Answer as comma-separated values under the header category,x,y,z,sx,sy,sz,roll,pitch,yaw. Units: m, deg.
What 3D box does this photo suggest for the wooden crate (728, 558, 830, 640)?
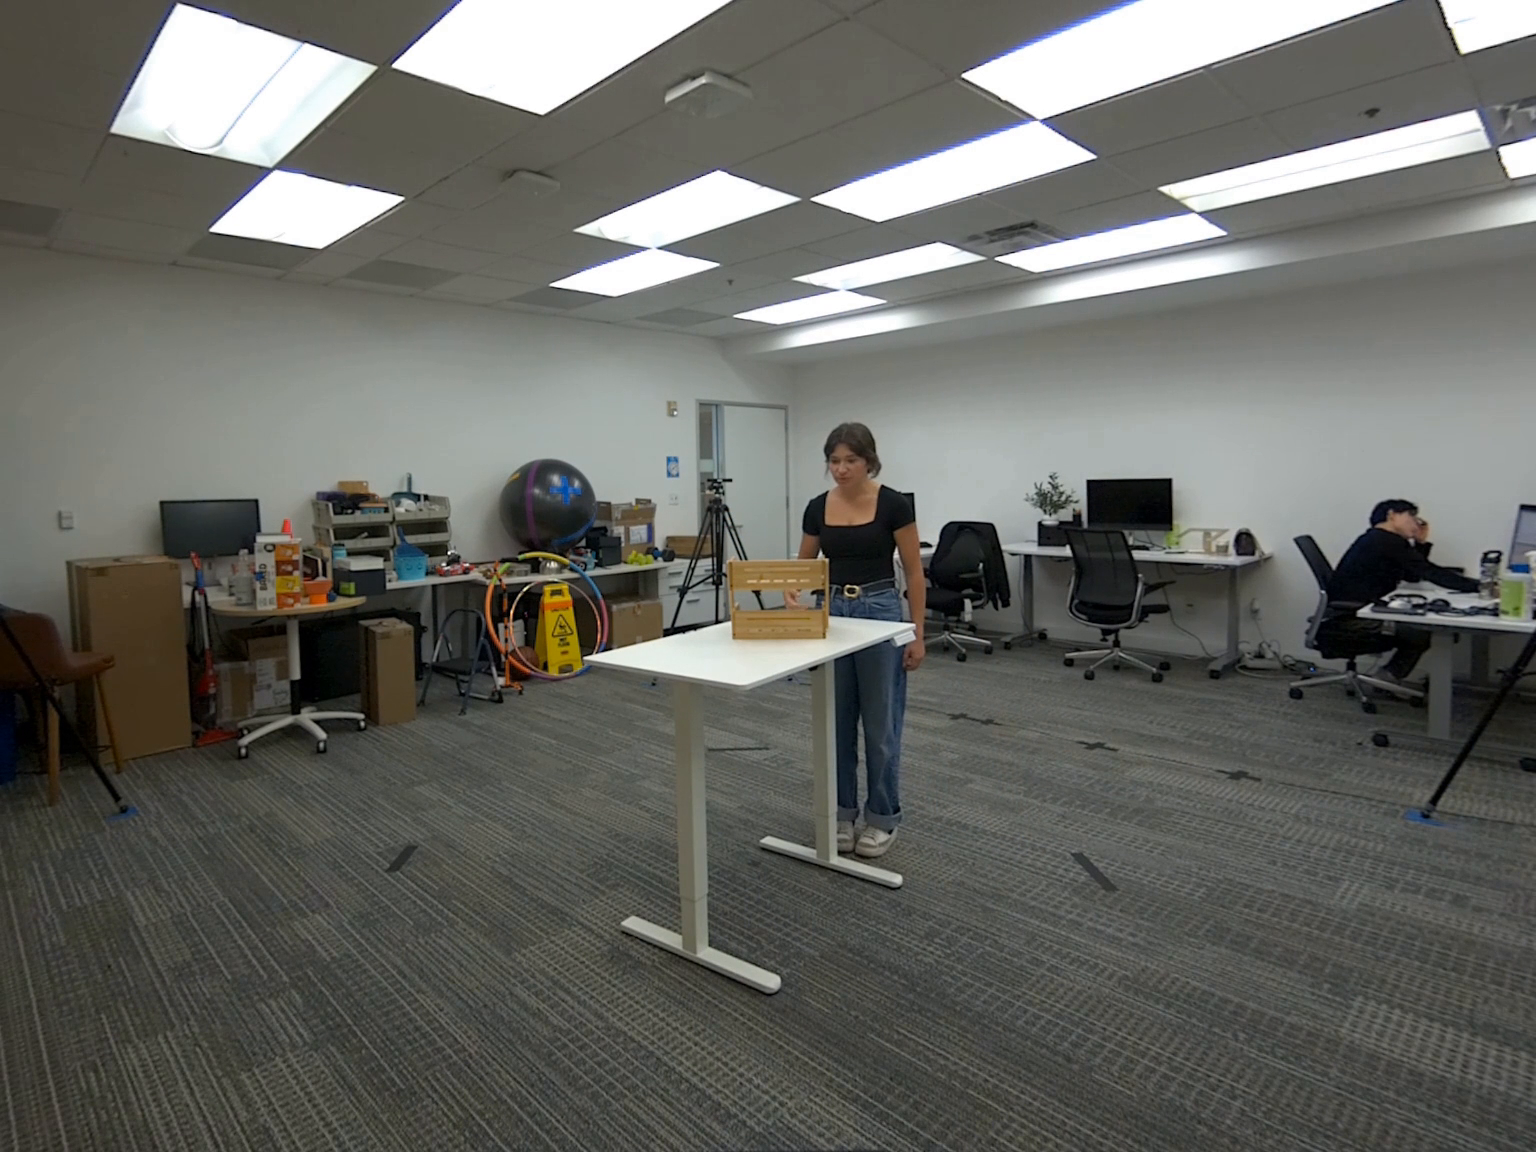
category,x,y,z,sx,sy,sz,roll,pitch,yaw
wooden crate,0.043,0.065,2.831,0.326,0.272,0.302,-1,4,4
